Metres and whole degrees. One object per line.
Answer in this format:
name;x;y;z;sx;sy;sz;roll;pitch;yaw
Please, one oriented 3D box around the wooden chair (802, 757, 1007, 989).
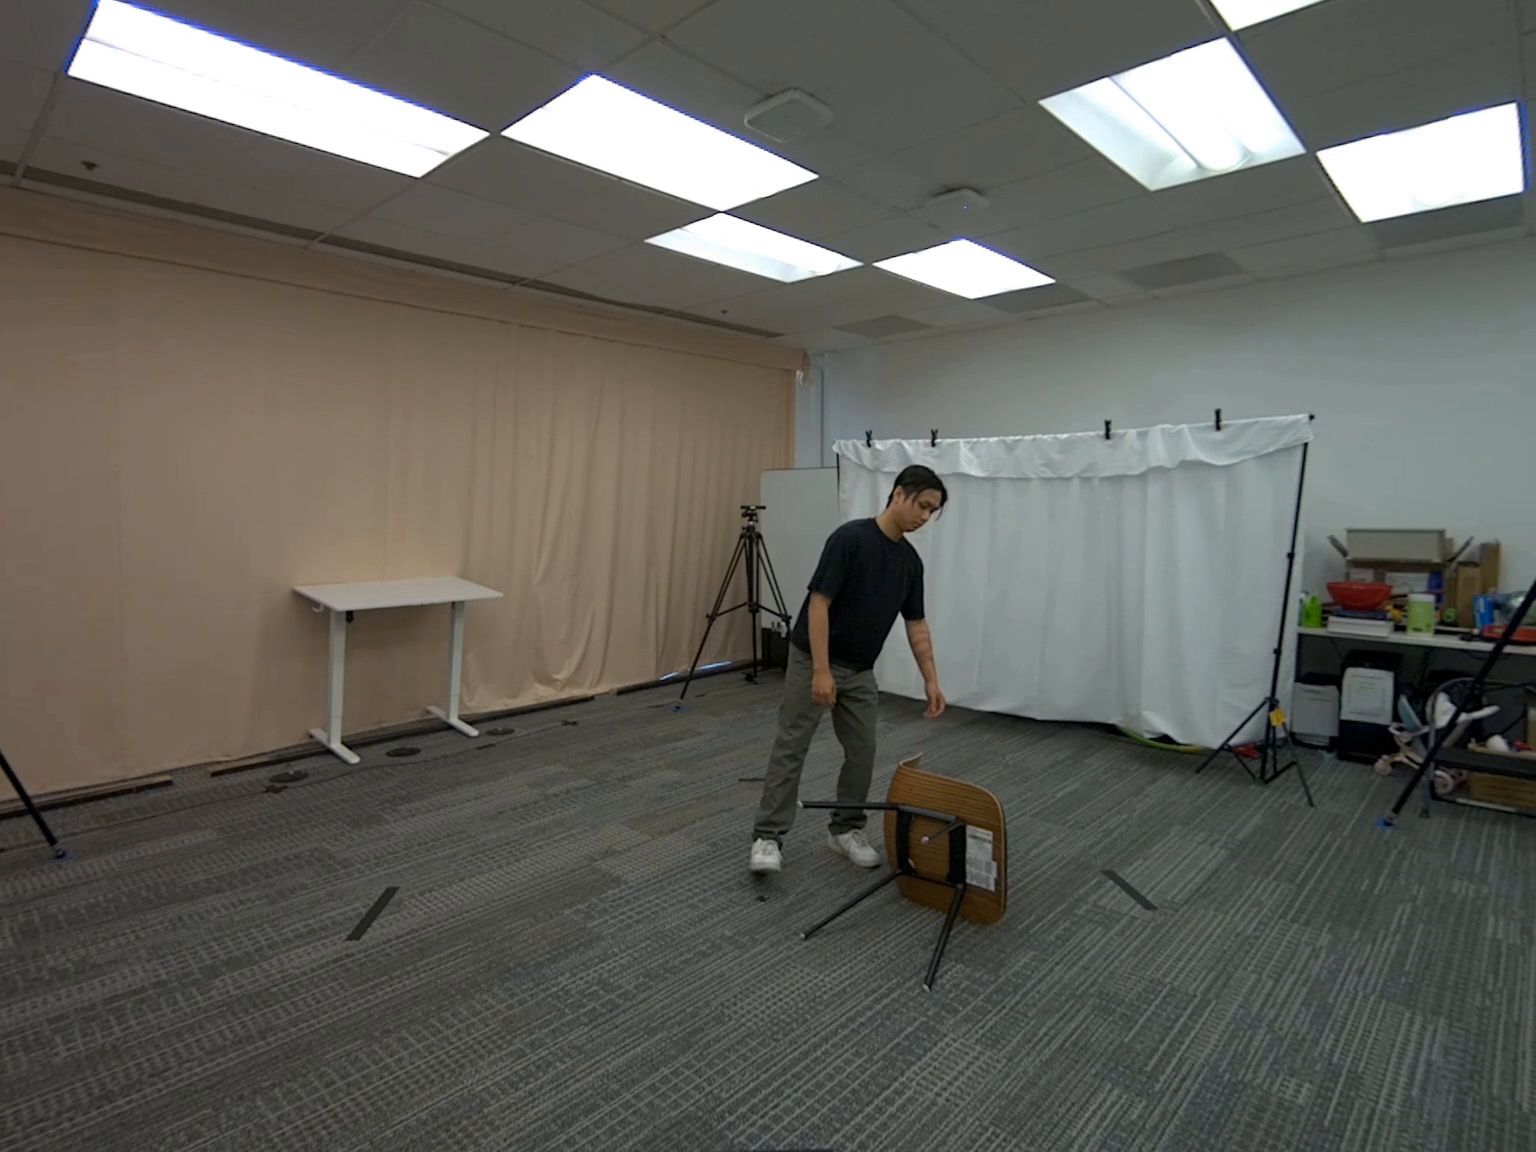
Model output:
wooden chair;0.557;0.924;2.847;0.539;0.477;0.852;2;5;35
